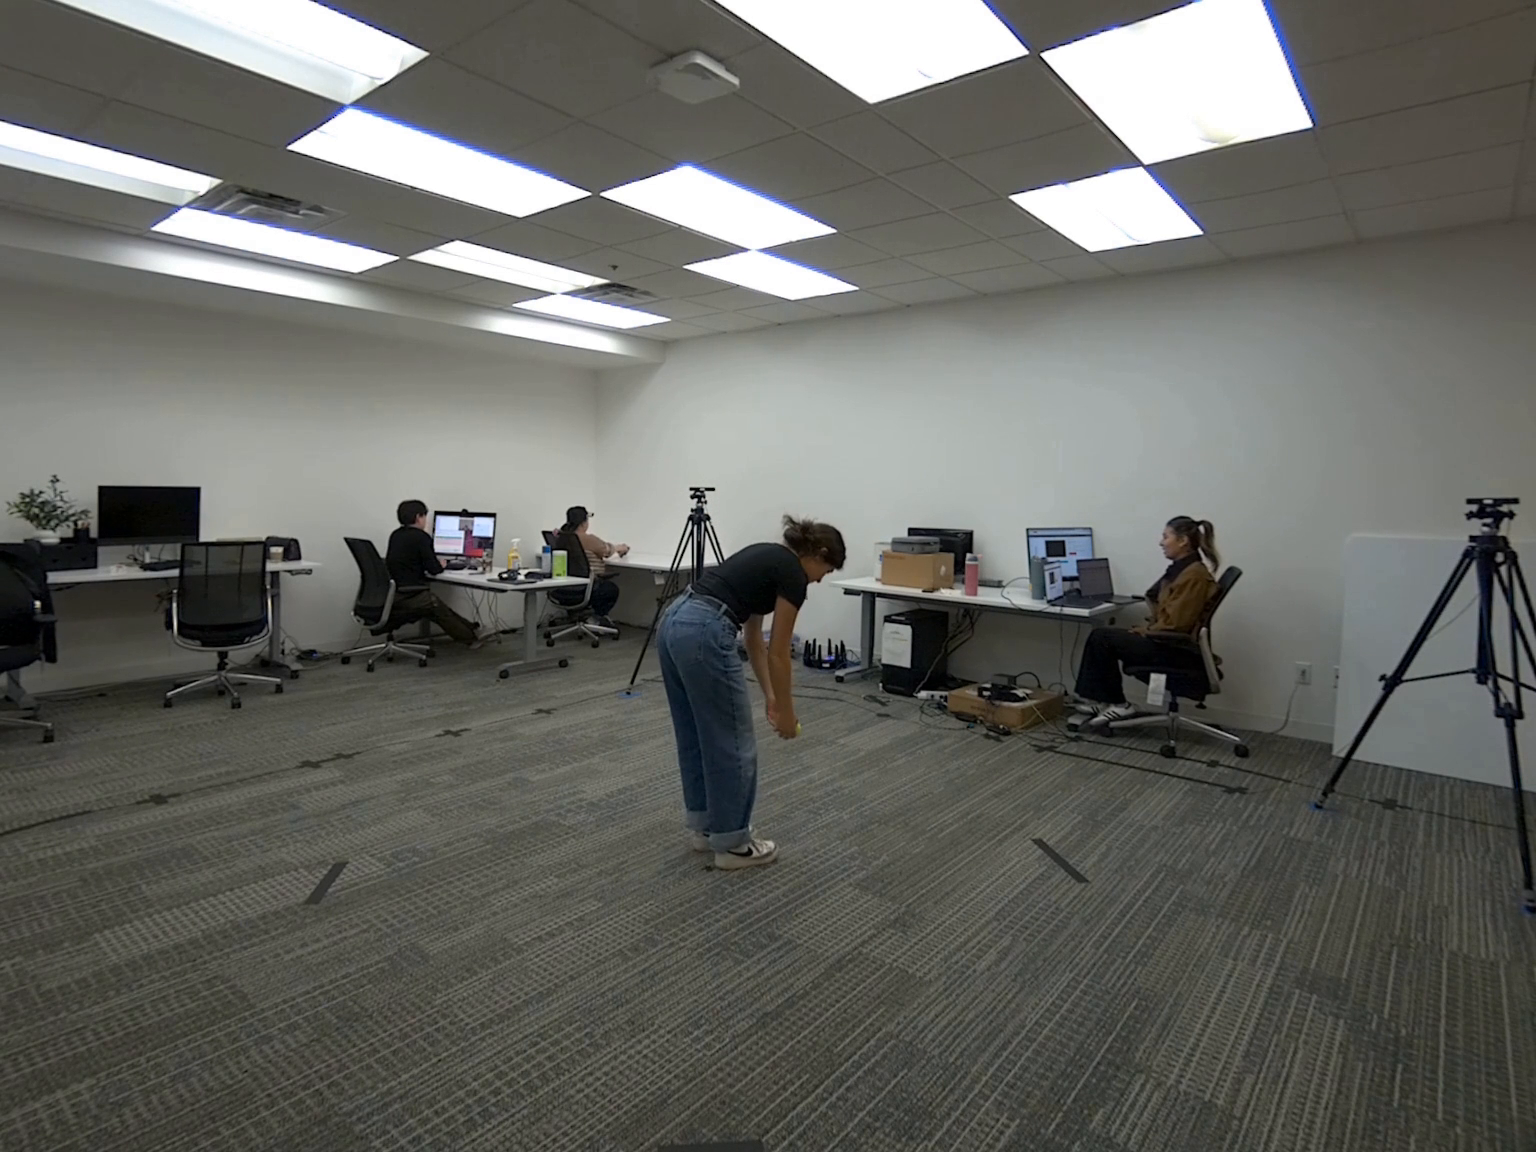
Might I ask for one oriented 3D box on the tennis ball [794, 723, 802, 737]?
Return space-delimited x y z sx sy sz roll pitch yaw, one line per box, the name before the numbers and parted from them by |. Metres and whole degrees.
tennis ball | 0.087 0.587 3.286 0.066 0.066 0.067 1 4 -2
